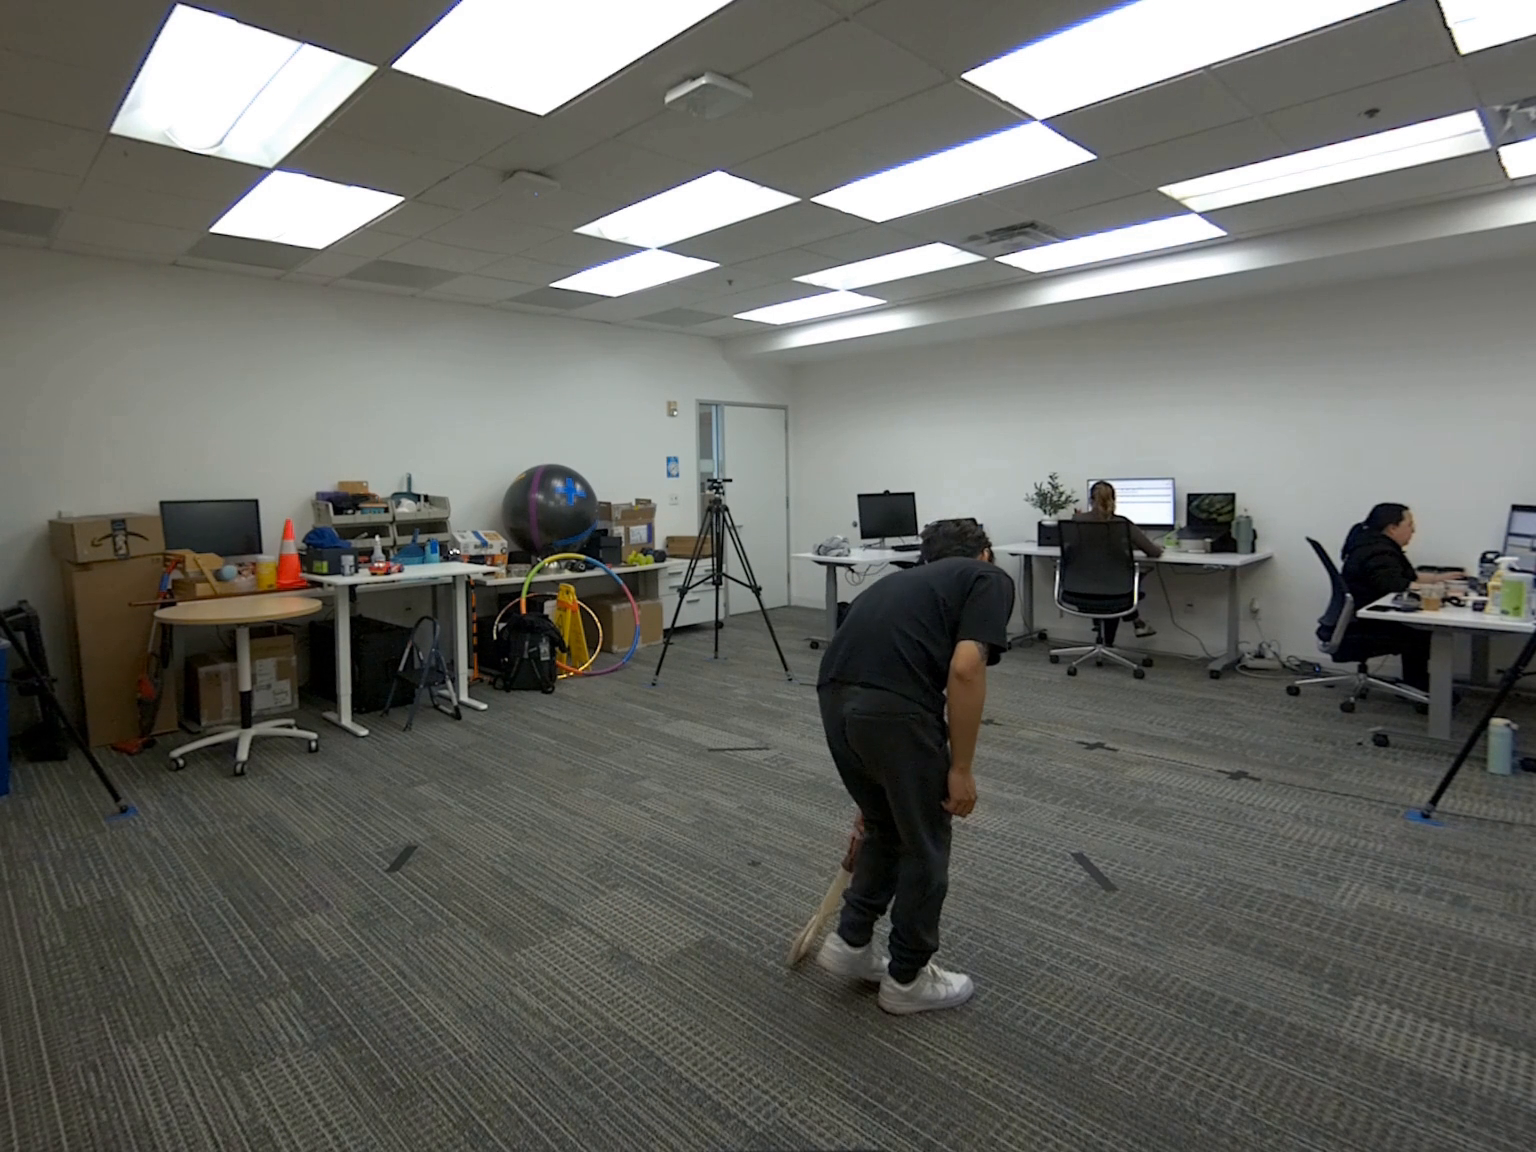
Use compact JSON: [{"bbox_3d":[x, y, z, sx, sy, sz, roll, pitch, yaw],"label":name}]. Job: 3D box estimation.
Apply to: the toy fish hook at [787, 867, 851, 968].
[{"bbox_3d":[0.190,0.899,2.434,0.049,0.504,0.221,27,9,15],"label":"toy fish hook"}]
